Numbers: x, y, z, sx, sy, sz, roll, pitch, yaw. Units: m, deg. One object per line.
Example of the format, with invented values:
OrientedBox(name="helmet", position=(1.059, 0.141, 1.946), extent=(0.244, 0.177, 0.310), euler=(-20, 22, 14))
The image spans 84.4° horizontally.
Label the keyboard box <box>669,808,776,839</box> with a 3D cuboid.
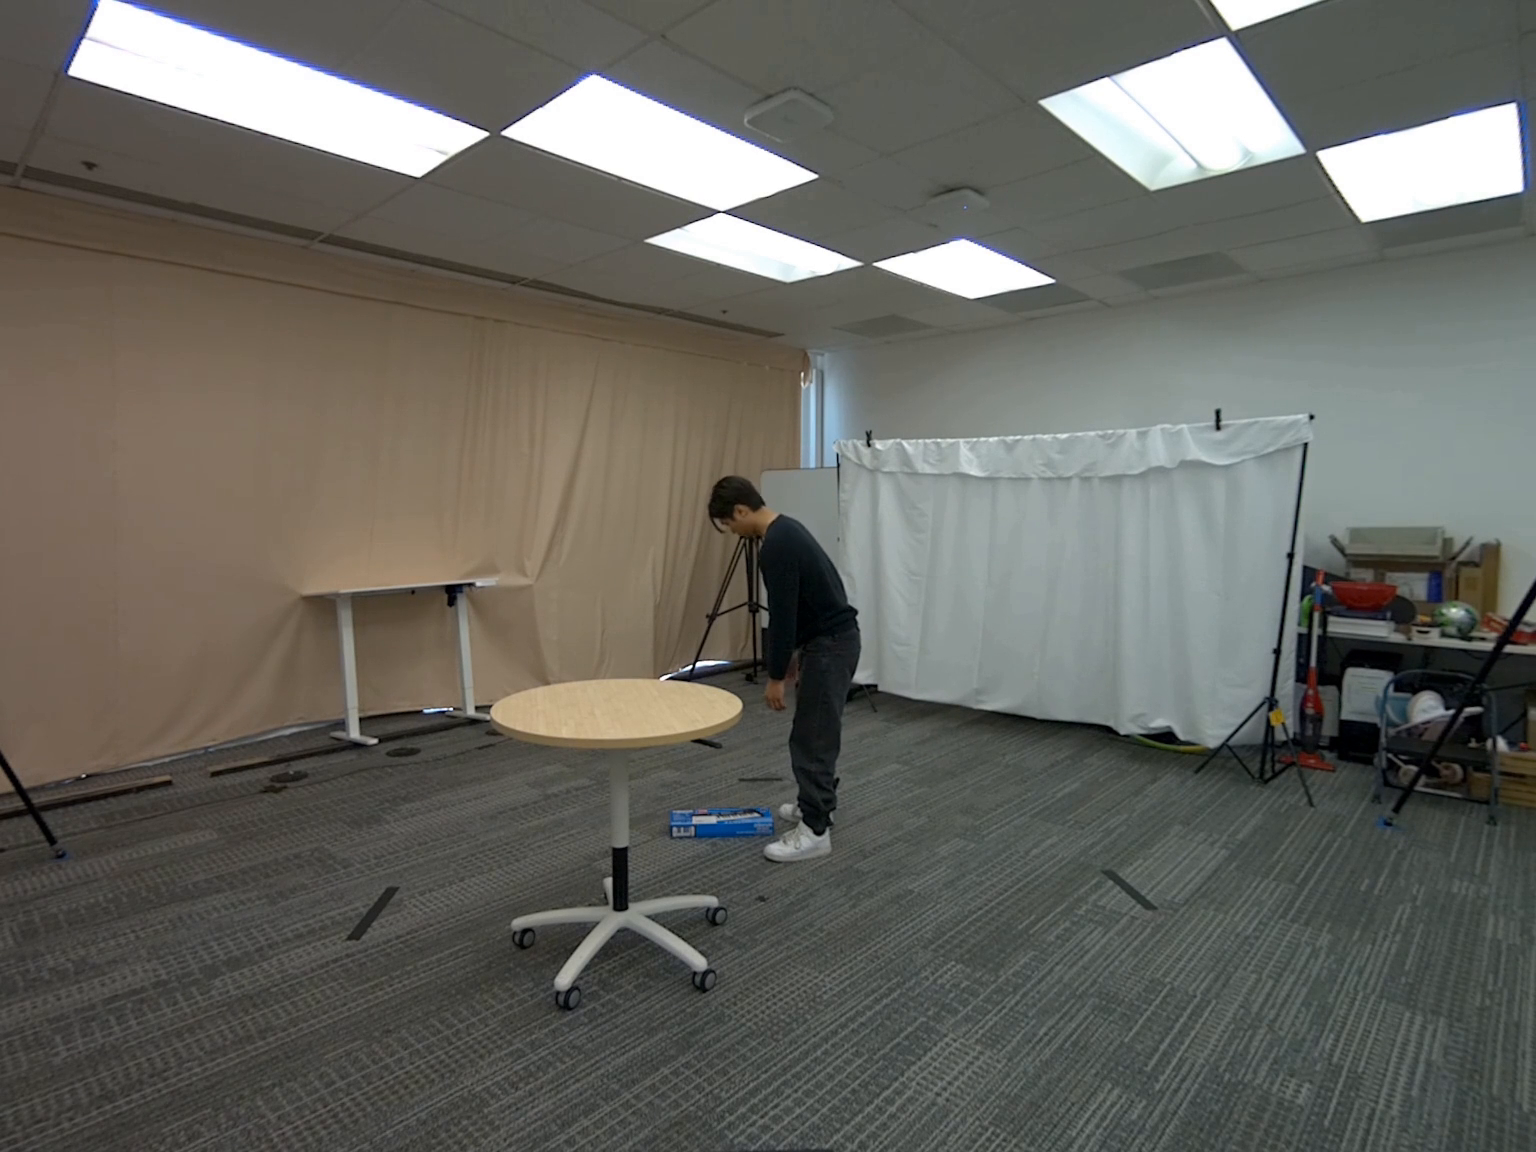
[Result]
OrientedBox(name="keyboard box", position=(-0.202, 1.063, 3.624), extent=(0.435, 0.059, 0.177), euler=(-1, 4, -4))
